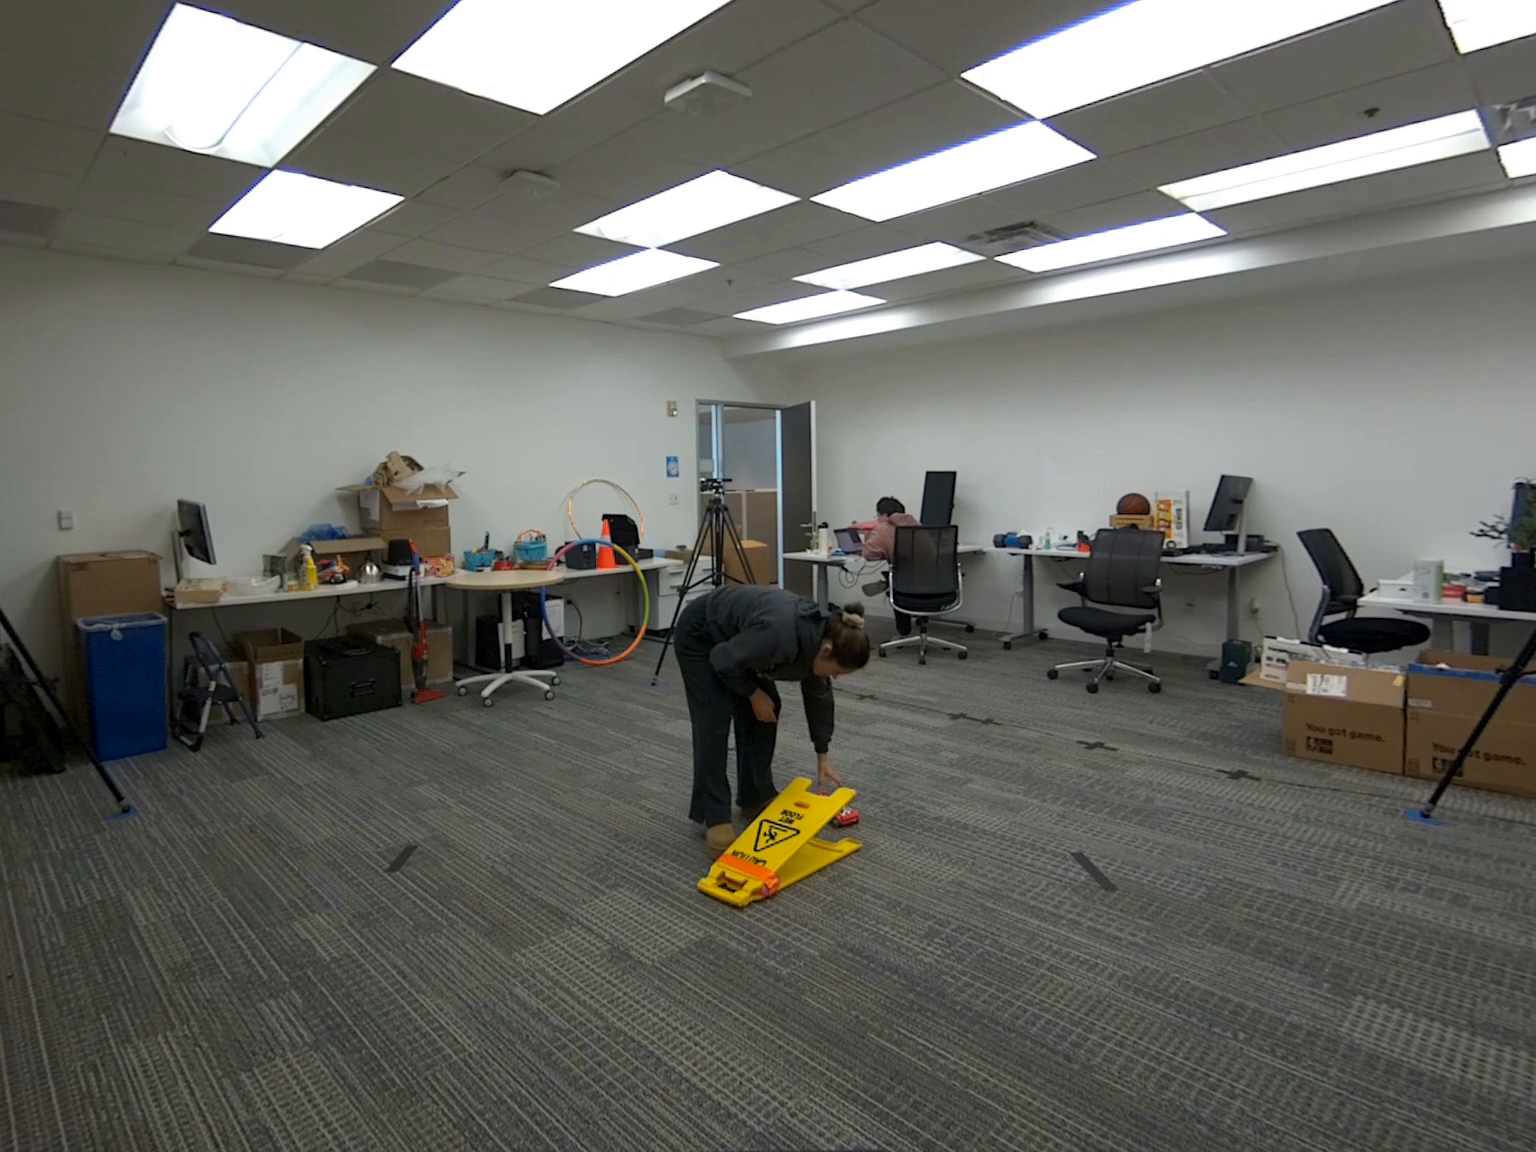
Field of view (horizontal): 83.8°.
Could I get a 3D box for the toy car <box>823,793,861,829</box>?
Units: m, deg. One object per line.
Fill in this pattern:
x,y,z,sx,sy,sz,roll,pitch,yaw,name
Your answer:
0.259,0.962,3.493,0.127,0.082,0.264,-3,16,-34,toy car
